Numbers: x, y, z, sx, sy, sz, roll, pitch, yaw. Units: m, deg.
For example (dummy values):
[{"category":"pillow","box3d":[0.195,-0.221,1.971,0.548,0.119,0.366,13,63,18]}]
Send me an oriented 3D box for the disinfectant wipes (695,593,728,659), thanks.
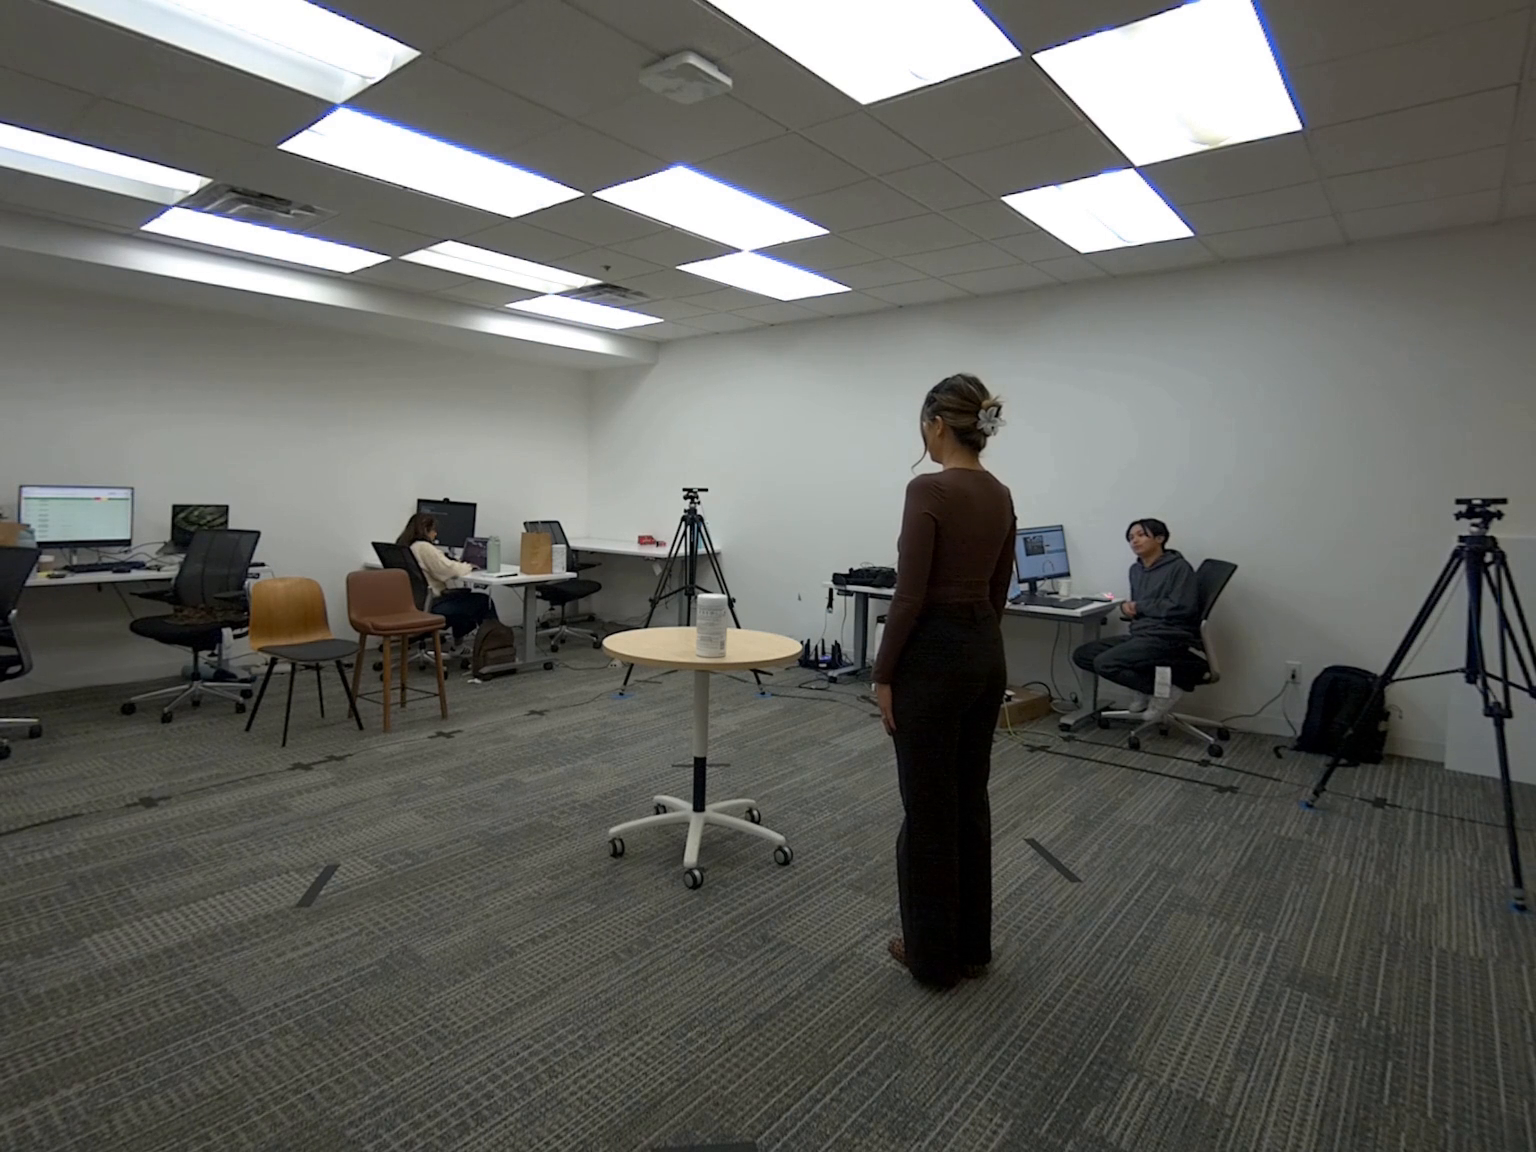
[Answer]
[{"category":"disinfectant wipes","box3d":[-0.217,0.175,3.024,0.118,0.217,0.118,1,3,-2]}]
